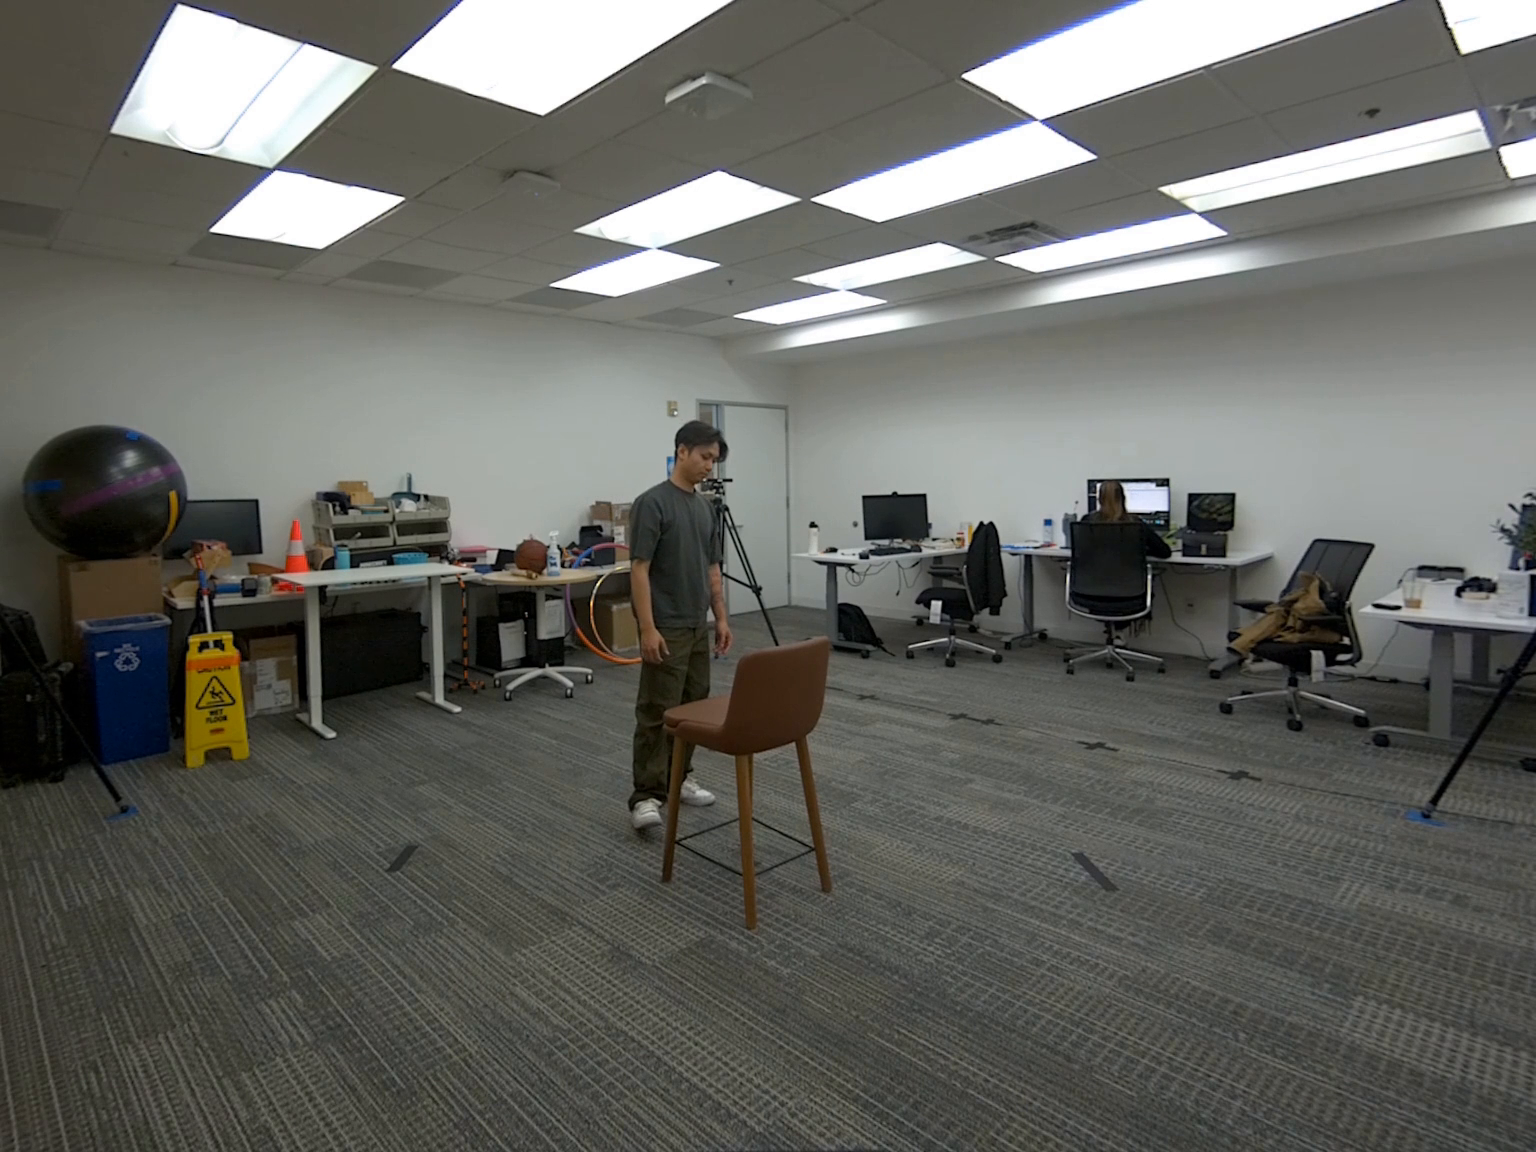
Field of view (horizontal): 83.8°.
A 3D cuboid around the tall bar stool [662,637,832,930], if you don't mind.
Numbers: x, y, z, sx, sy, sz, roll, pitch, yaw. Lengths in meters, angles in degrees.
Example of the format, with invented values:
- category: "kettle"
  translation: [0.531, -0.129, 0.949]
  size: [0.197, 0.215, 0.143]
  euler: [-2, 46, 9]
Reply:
- category: "tall bar stool"
  translation: [-0.070, 0.629, 2.913]
  size: [0.444, 0.885, 0.483]
  euler: [-4, 8, -42]
